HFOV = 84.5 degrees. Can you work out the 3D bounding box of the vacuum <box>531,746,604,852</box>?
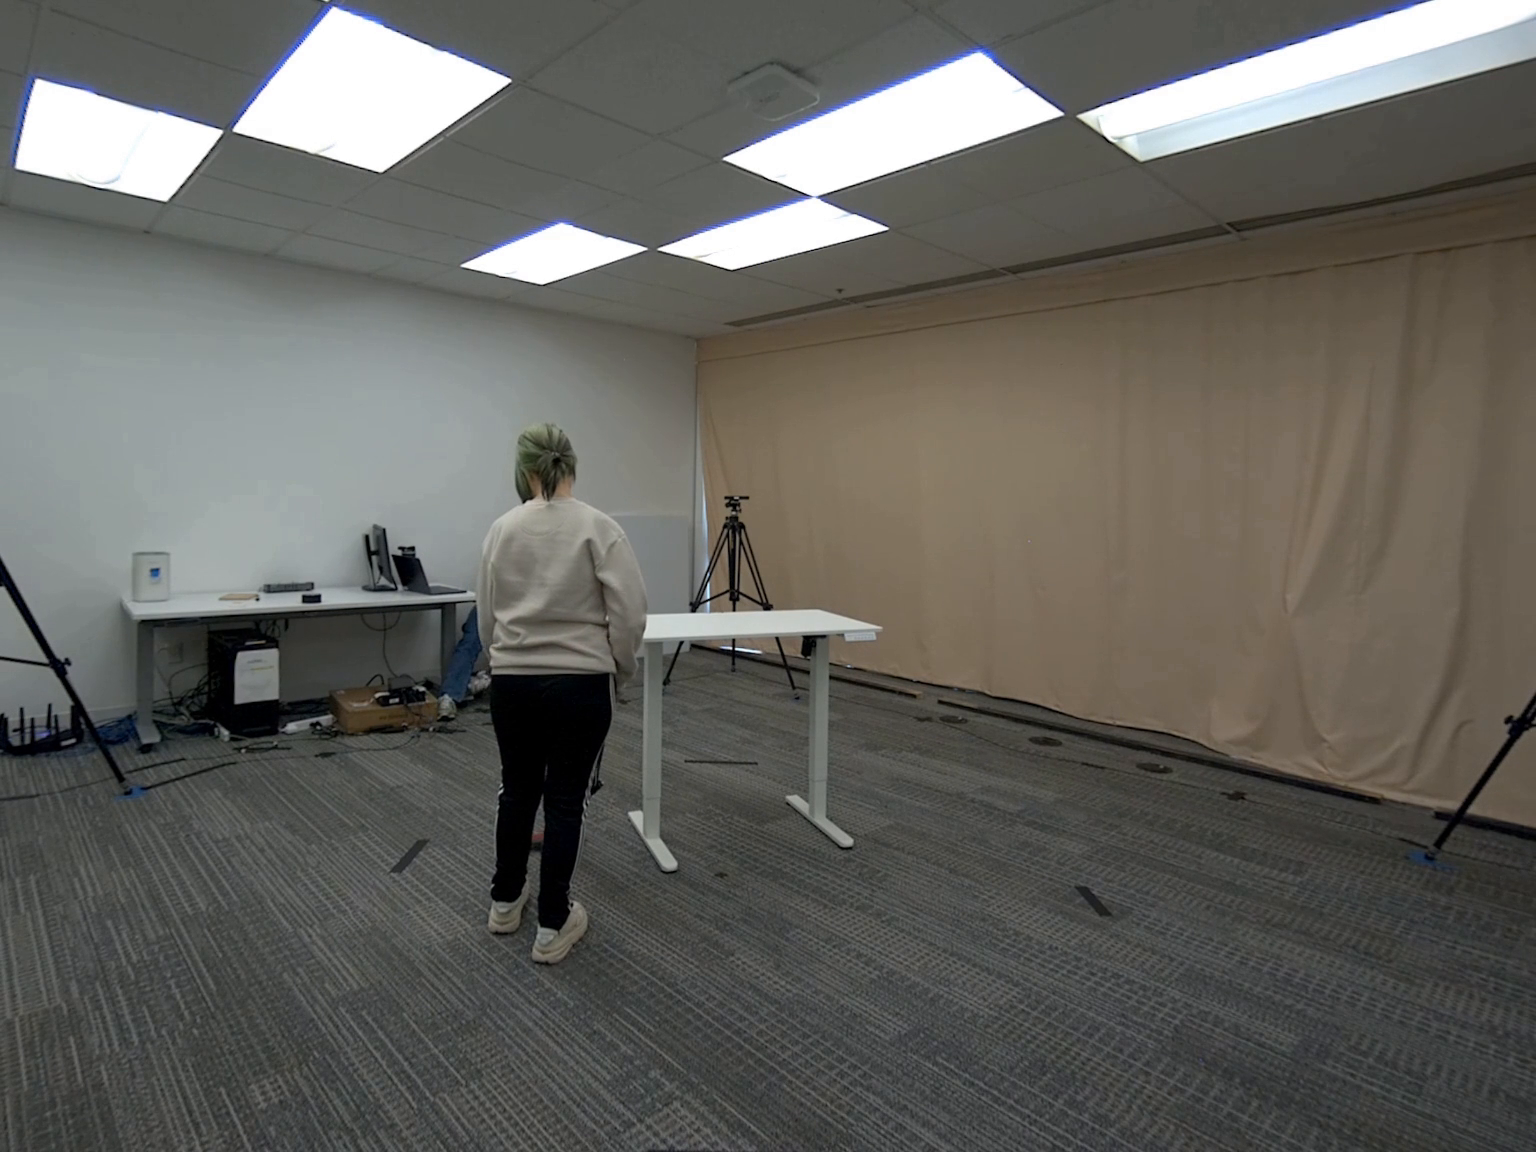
[{"bbox_3d":[-0.683,0.727,2.955,0.248,0.148,1.038,-3,-38,-26],"label":"vacuum"}]
